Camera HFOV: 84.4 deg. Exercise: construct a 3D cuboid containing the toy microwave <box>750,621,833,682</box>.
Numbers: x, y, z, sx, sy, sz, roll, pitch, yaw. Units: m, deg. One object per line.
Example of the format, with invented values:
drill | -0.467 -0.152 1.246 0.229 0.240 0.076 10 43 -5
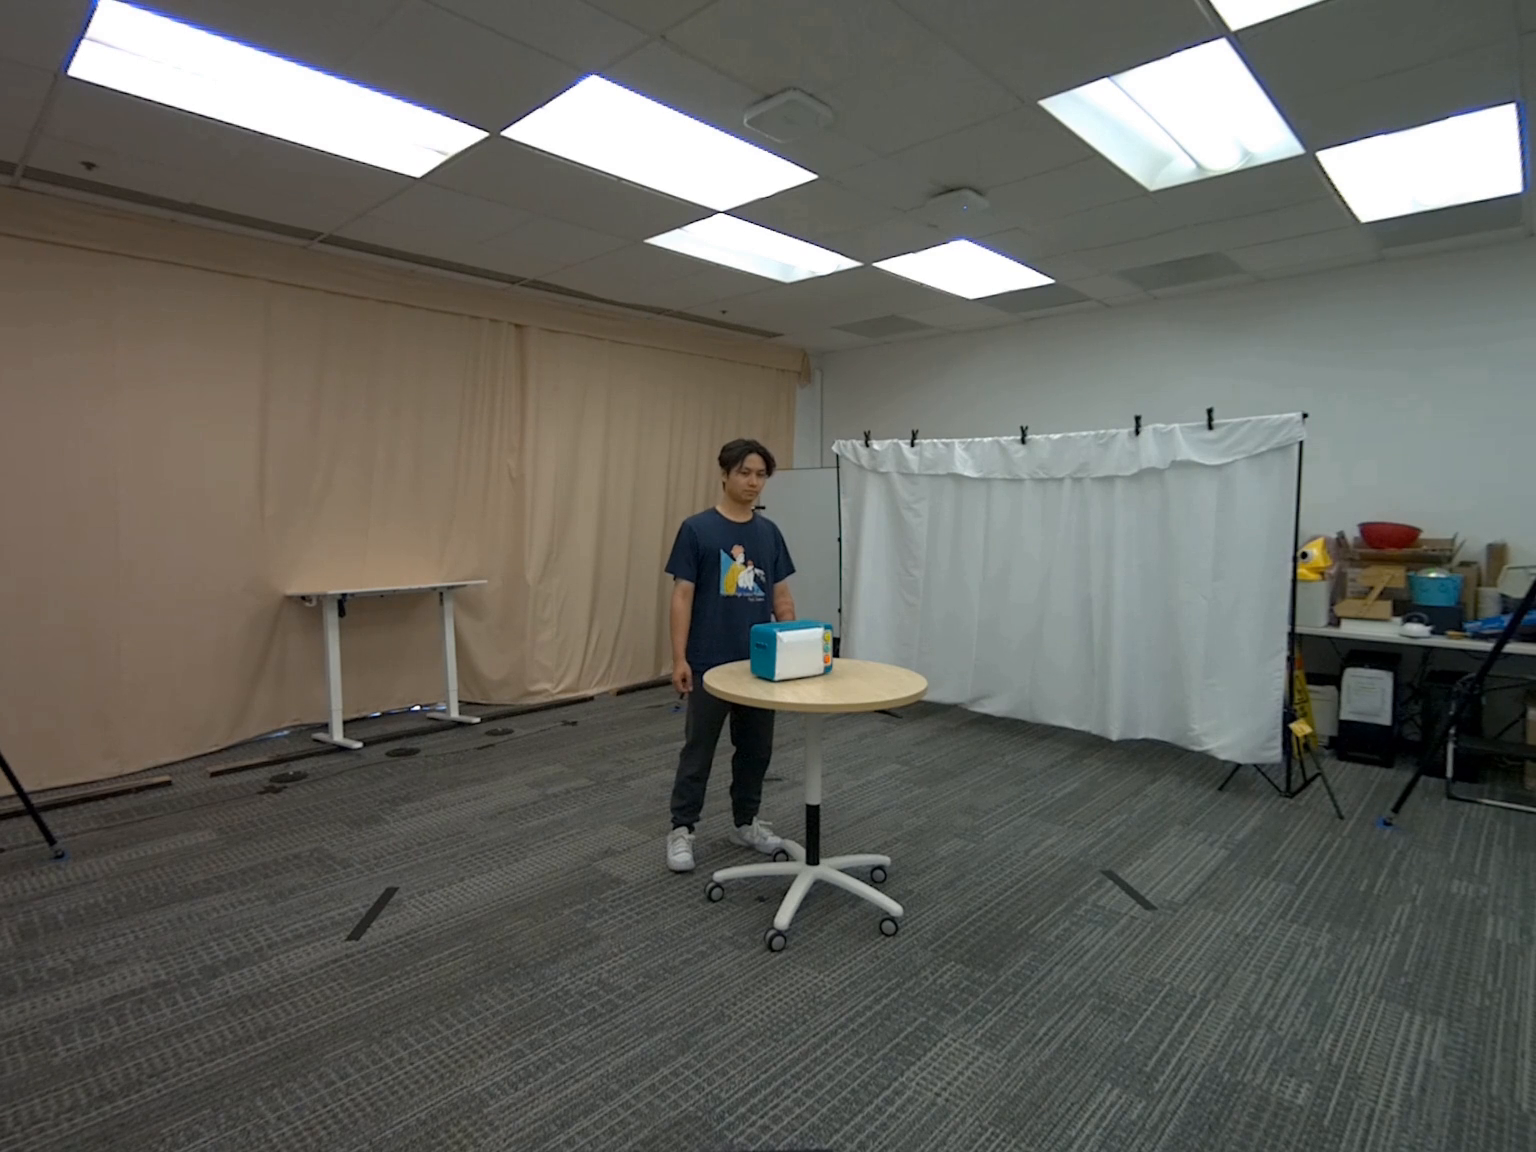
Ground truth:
toy microwave | 0.090 0.257 2.926 0.278 0.184 0.157 -3 5 -36
